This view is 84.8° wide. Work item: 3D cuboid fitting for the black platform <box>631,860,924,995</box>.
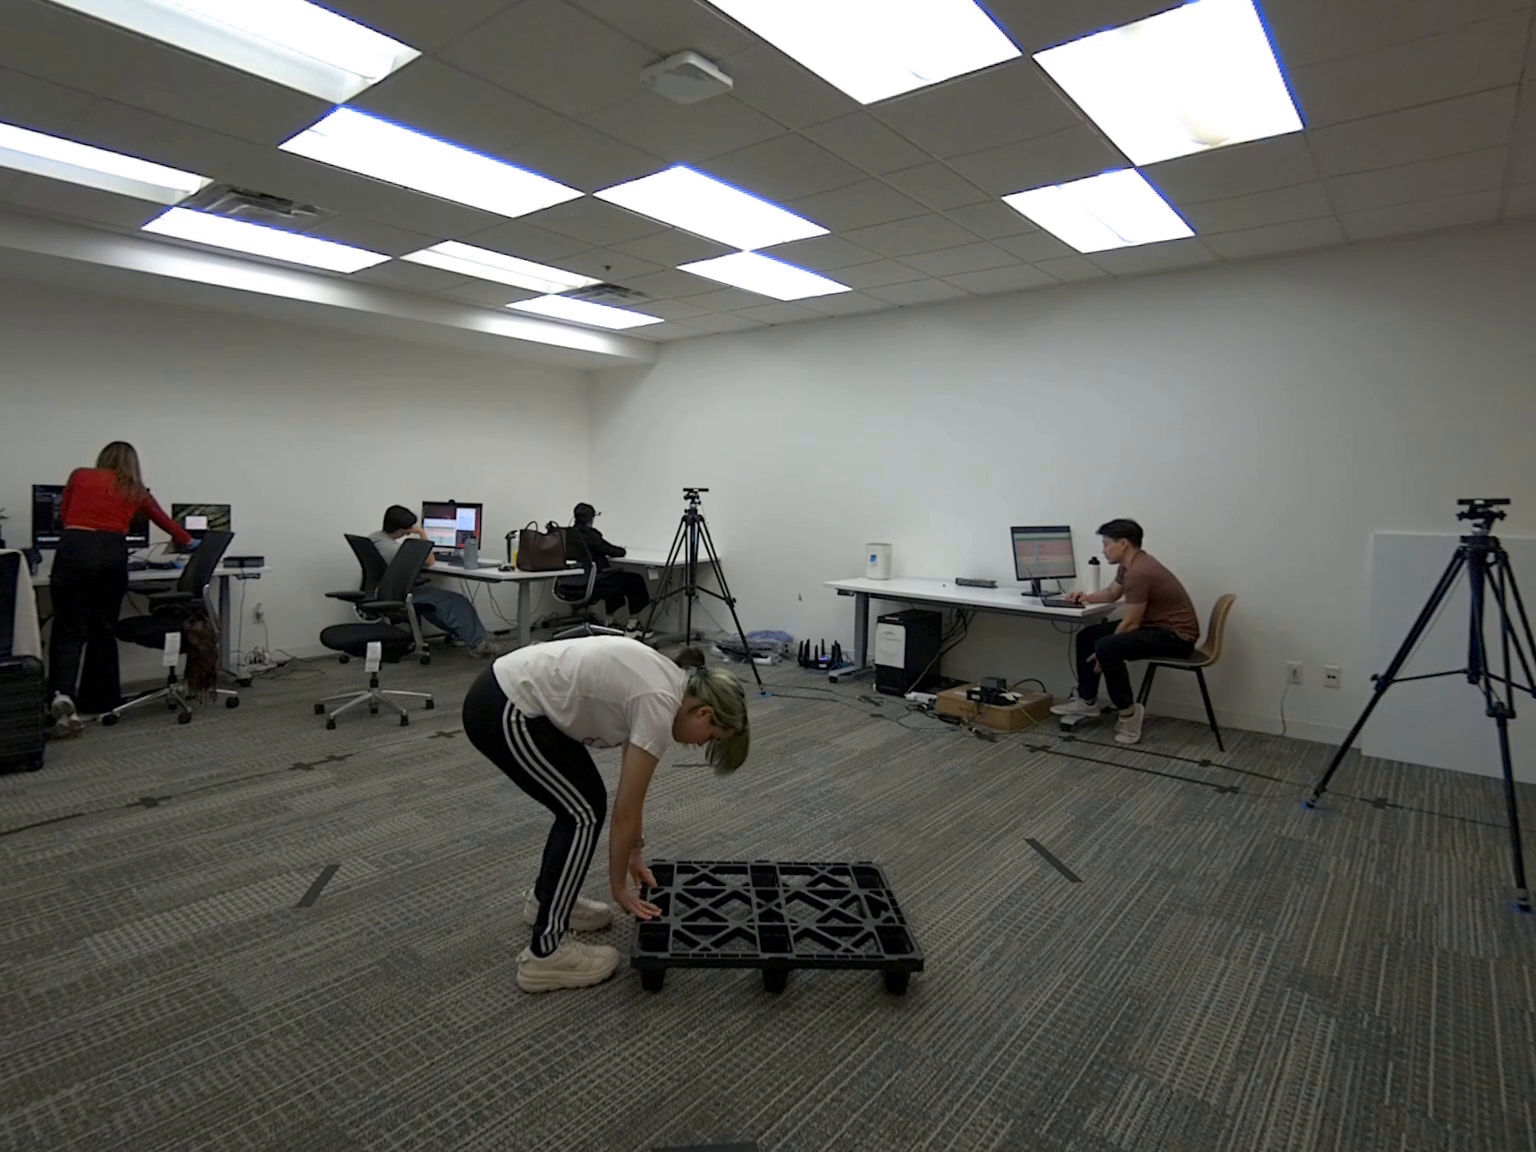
[{"bbox_3d":[-0.002,1.057,2.578,0.804,0.143,0.609,1,6,-2],"label":"black platform"}]
